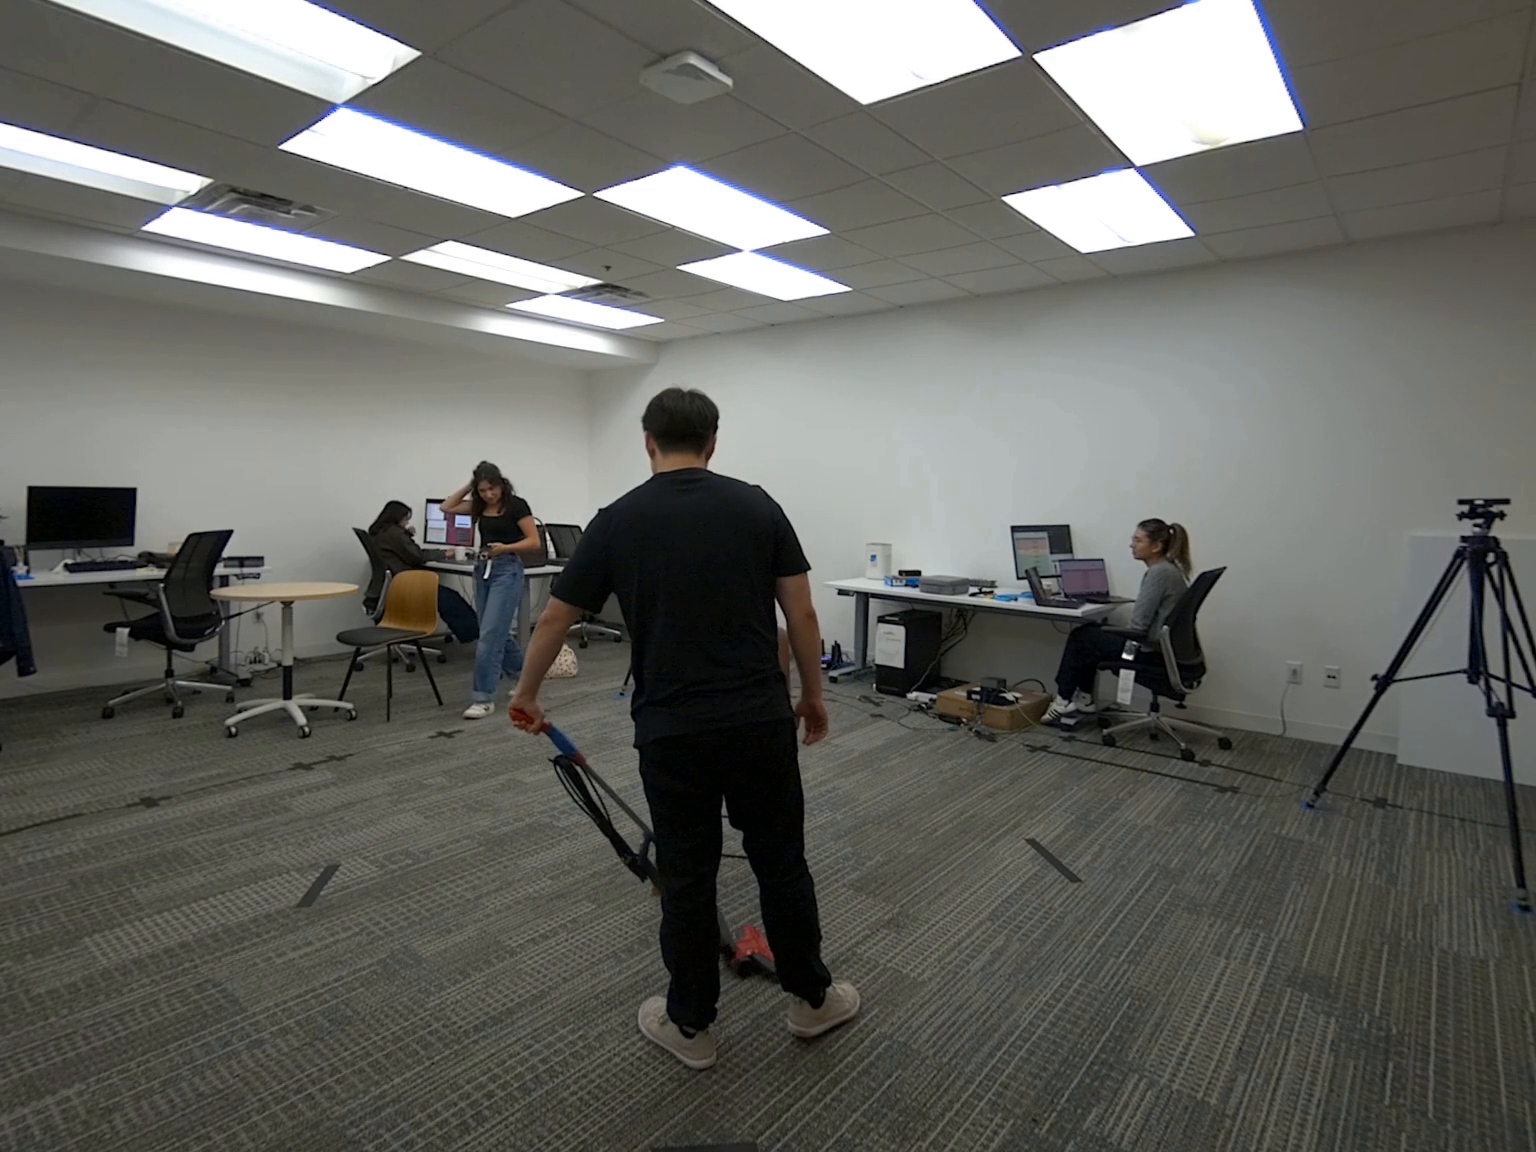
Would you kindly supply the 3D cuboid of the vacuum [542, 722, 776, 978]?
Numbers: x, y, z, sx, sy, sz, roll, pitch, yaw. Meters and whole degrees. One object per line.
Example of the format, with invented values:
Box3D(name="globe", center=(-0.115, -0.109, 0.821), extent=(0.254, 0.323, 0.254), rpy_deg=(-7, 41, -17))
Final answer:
Box3D(name="vacuum", center=(-0.354, 0.734, 2.331), extent=(0.144, 1.021, 0.260), rpy_deg=(-46, 21, -20))
